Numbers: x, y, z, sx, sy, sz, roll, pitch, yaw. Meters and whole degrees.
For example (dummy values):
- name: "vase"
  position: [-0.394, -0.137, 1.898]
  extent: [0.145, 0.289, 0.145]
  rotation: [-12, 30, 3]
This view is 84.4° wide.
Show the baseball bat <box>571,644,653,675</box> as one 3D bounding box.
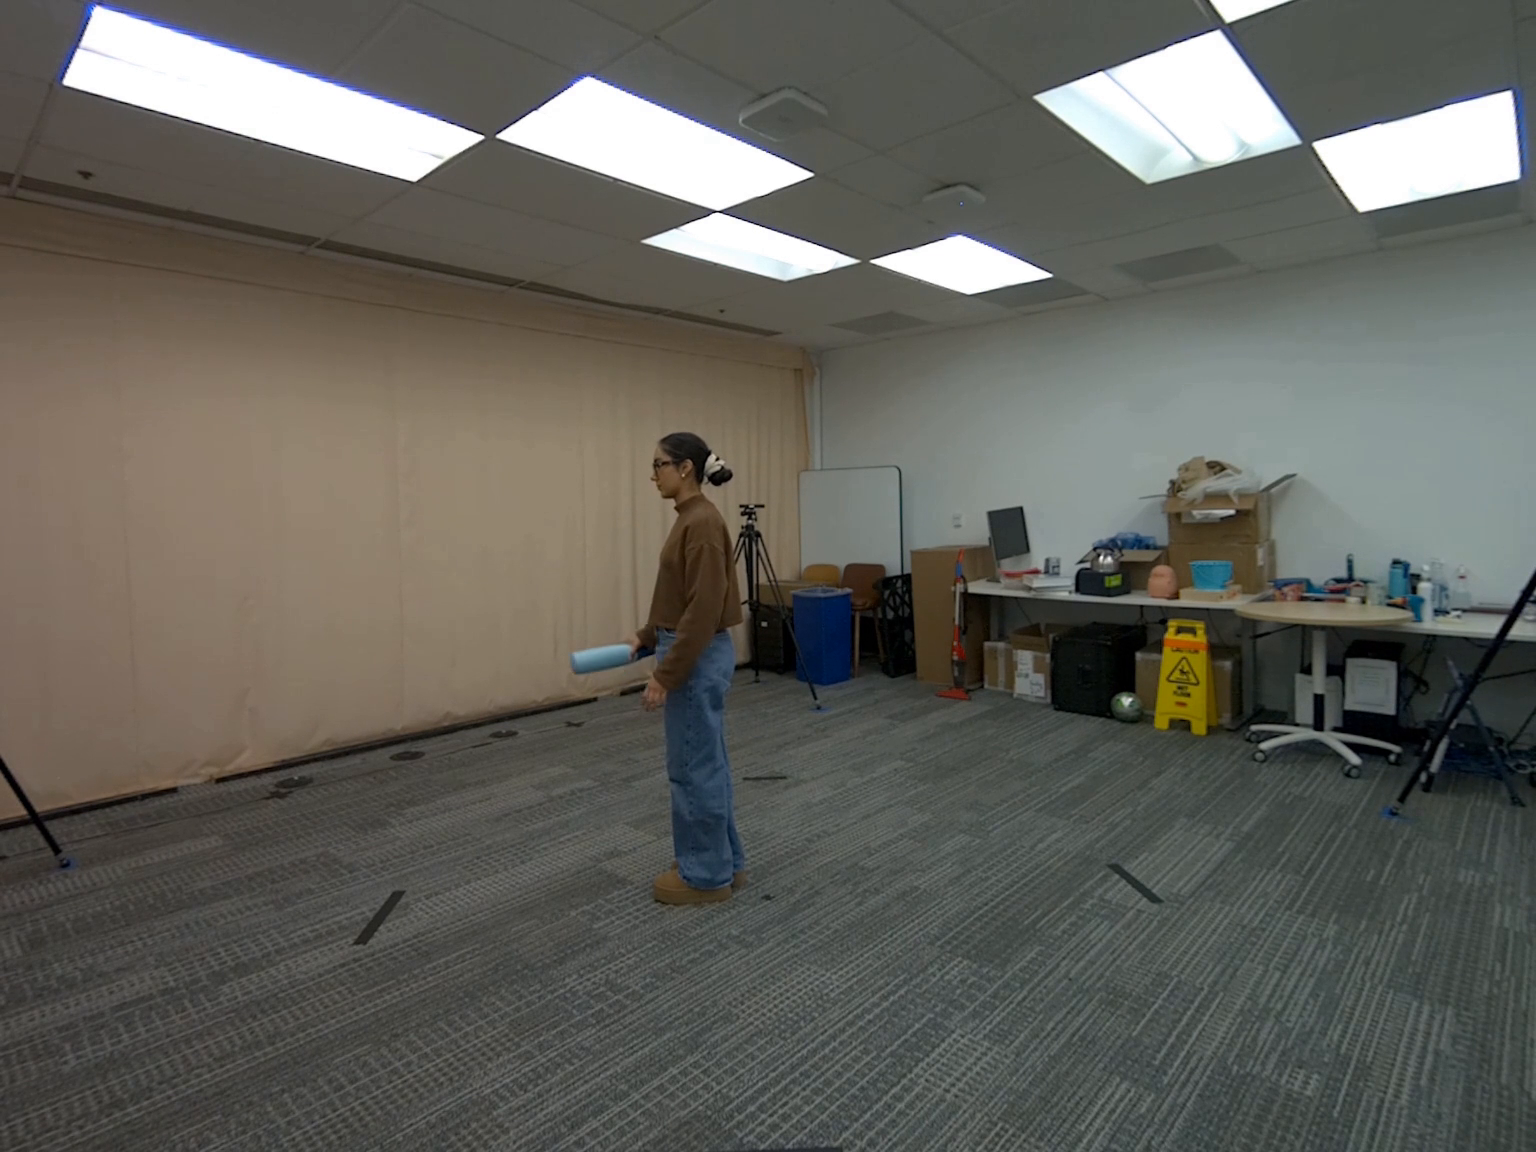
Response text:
- name: "baseball bat"
  position: [-0.484, 0.292, 3.252]
  extent: [0.530, 0.089, 0.091]
  rotation: [-8, 7, -26]
